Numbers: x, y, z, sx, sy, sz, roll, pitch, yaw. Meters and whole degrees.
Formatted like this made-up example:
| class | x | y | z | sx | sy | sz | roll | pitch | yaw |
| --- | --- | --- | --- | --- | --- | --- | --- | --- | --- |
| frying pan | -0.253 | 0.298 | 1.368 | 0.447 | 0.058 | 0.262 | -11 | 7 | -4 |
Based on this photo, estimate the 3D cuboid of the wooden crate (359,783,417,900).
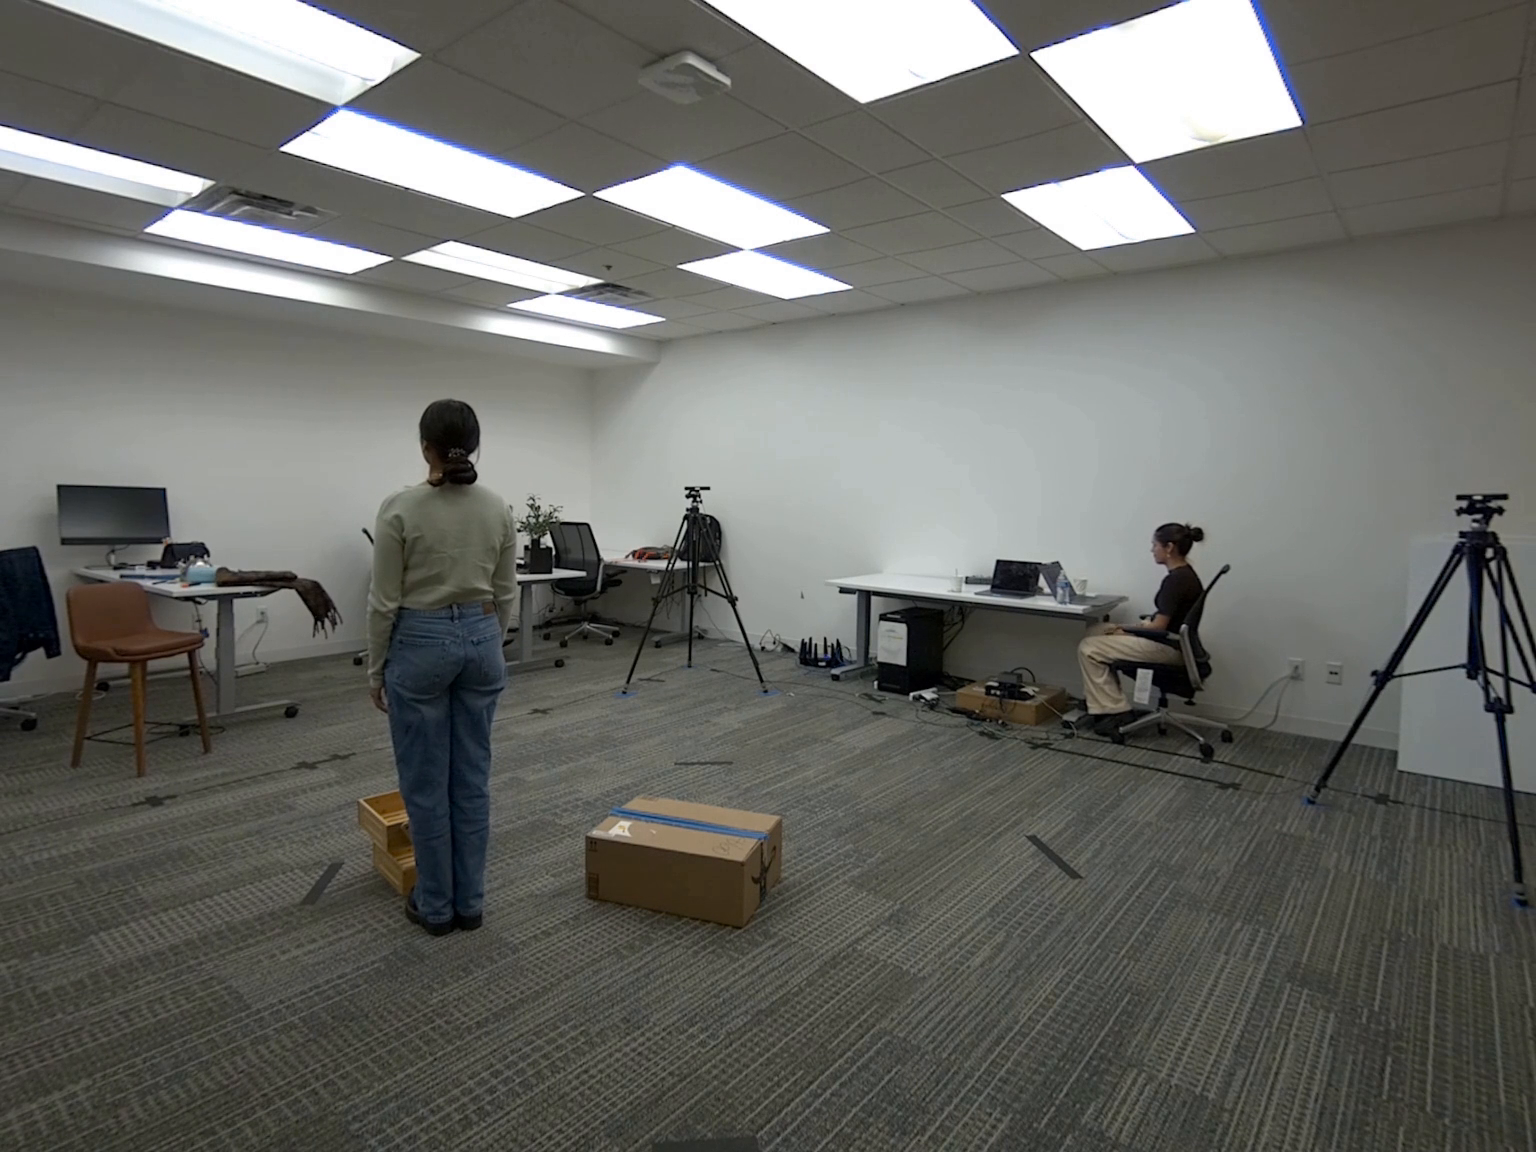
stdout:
| class | x | y | z | sx | sy | sz | roll | pitch | yaw |
| --- | --- | --- | --- | --- | --- | --- | --- | --- | --- |
| wooden crate | -1.261 | 0.919 | 3.027 | 0.293 | 0.272 | 0.335 | -5 | 7 | -42 |
